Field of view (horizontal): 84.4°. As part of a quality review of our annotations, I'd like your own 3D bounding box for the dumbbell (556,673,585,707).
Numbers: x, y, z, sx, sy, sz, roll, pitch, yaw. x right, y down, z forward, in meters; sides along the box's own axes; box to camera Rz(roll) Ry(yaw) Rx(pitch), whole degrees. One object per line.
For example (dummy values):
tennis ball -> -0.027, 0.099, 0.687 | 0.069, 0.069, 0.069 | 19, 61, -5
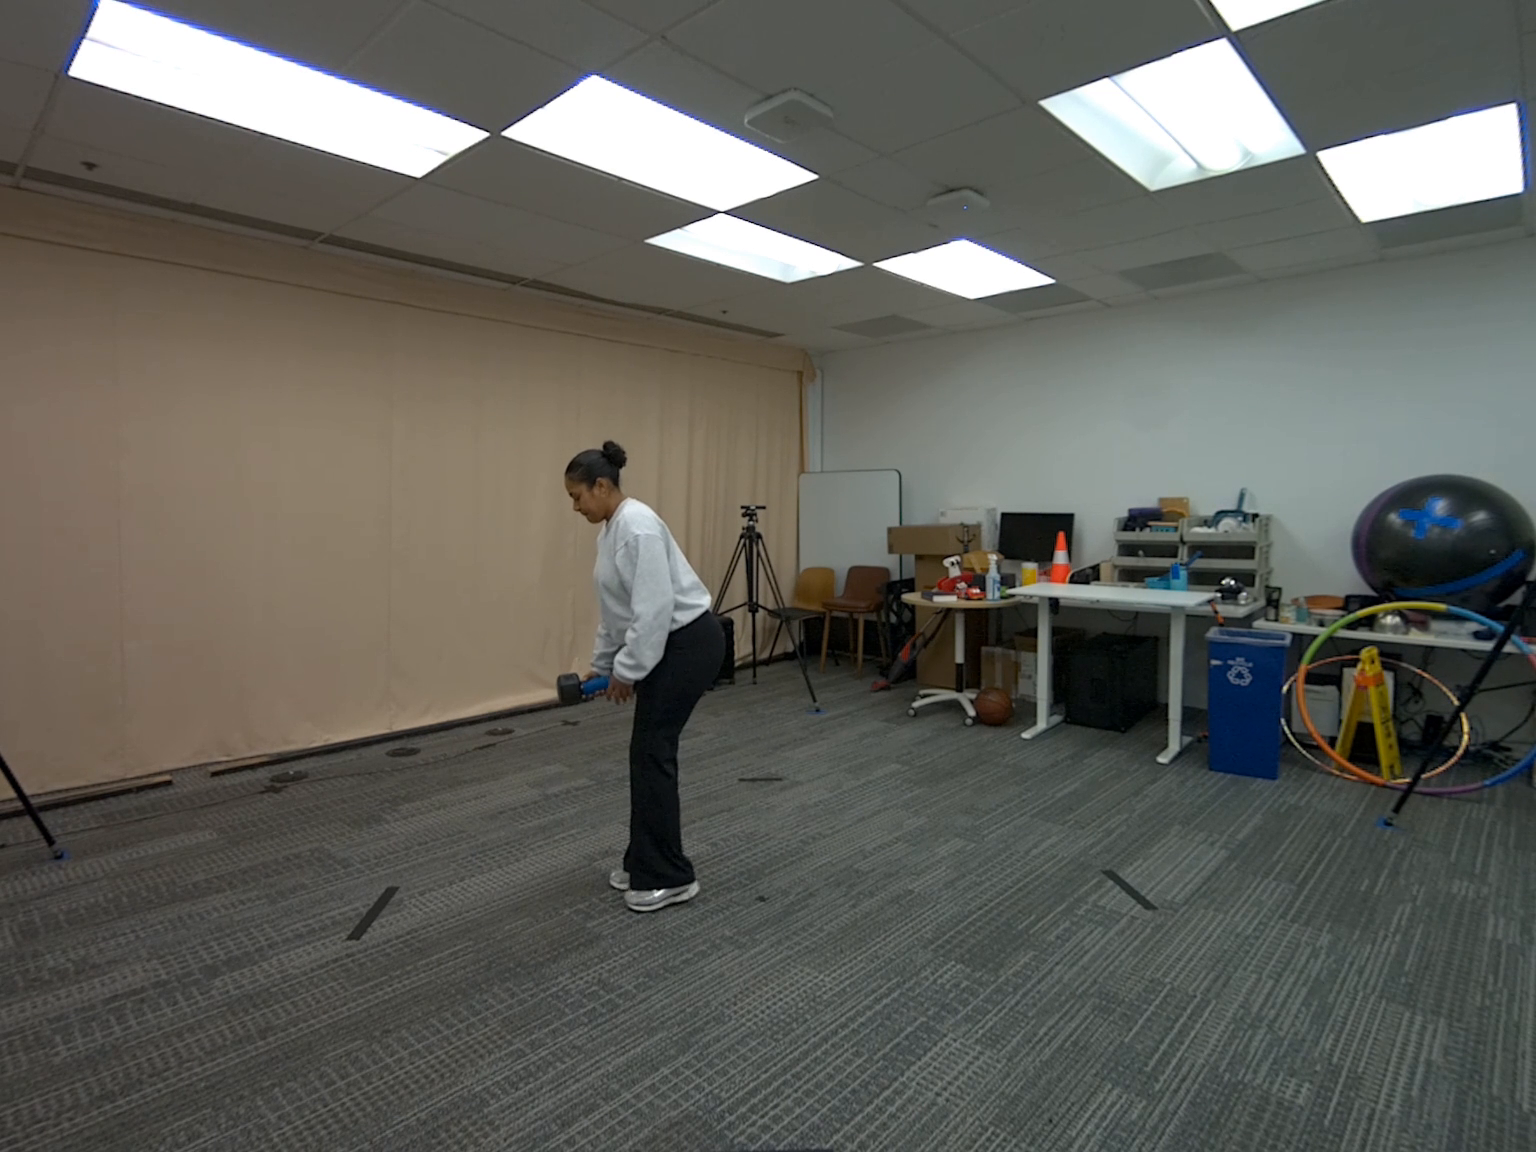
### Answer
dumbbell -> -0.631, 0.415, 3.168 | 0.289, 0.122, 0.111 | -7, 4, -16
